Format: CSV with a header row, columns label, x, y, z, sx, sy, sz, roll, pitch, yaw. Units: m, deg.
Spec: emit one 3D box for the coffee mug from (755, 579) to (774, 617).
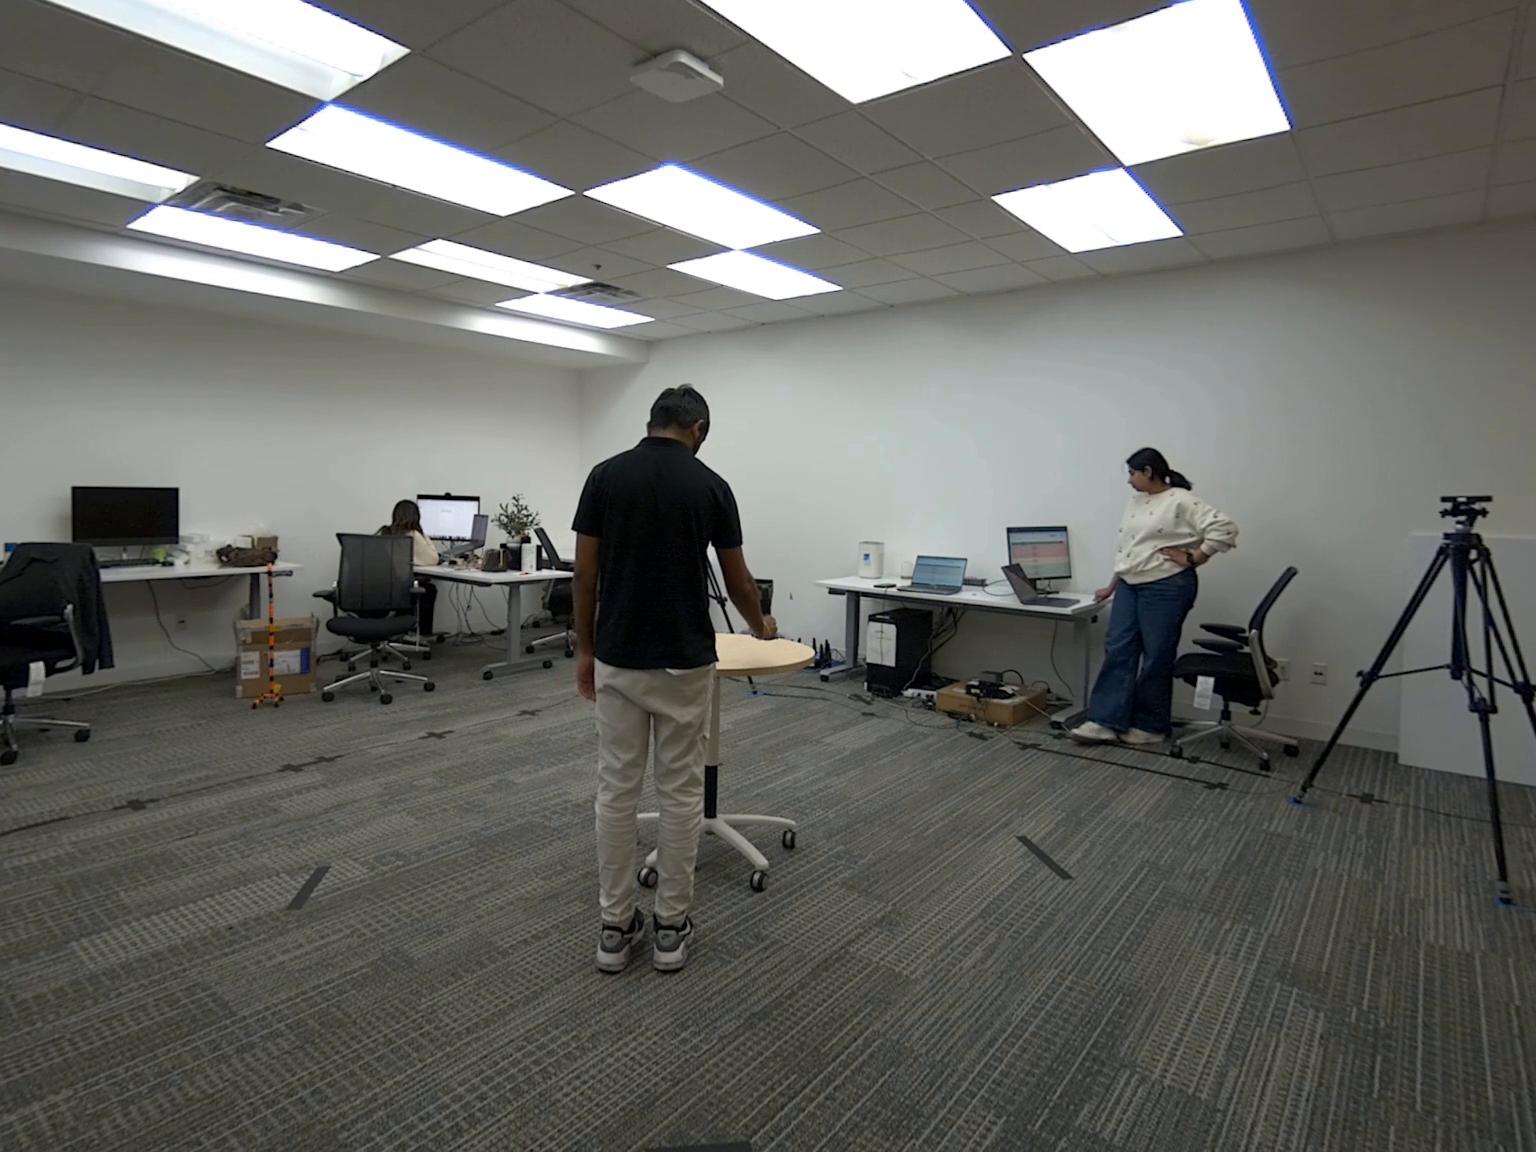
label,x,y,z,sx,sy,sz,roll,pitch,yaw
coffee mug,-0.043,0.109,2.937,0.090,0.202,0.119,5,3,24
